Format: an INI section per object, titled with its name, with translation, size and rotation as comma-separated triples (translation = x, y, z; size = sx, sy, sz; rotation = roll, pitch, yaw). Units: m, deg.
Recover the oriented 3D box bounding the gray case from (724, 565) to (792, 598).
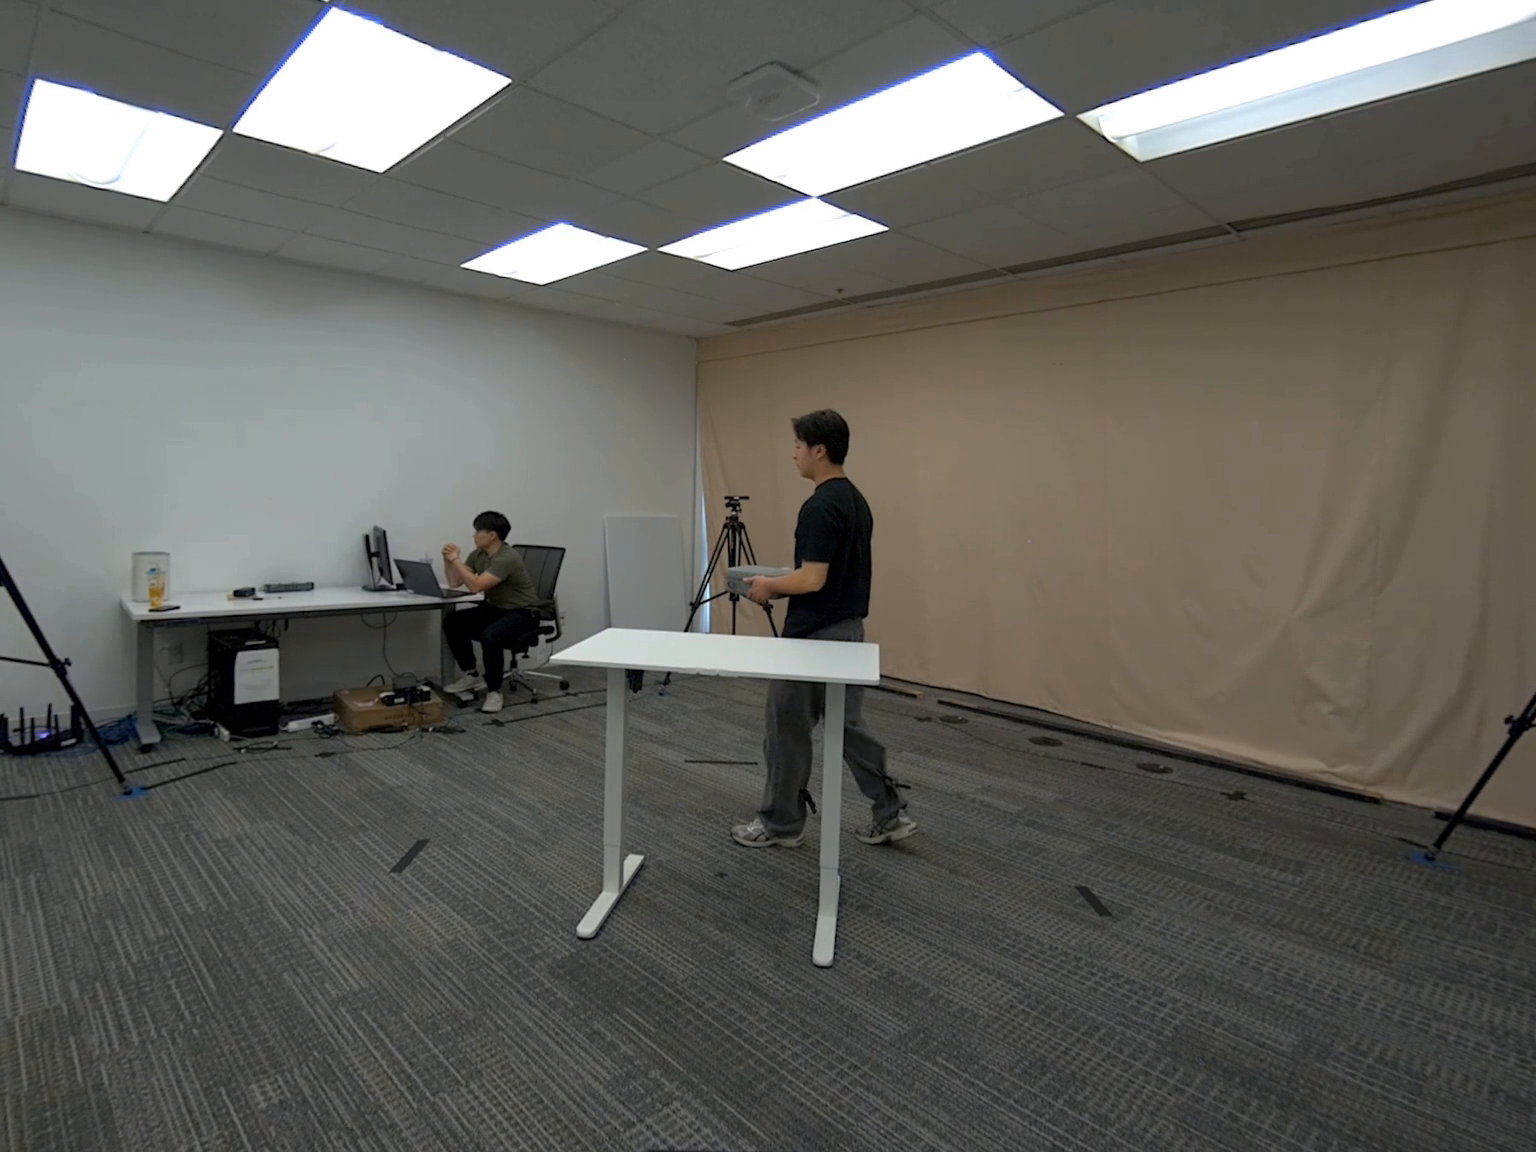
[gray case]
translation = -0.011, 0.028, 3.491
size = 0.292, 0.102, 0.259
rotation = 7, 8, 22
